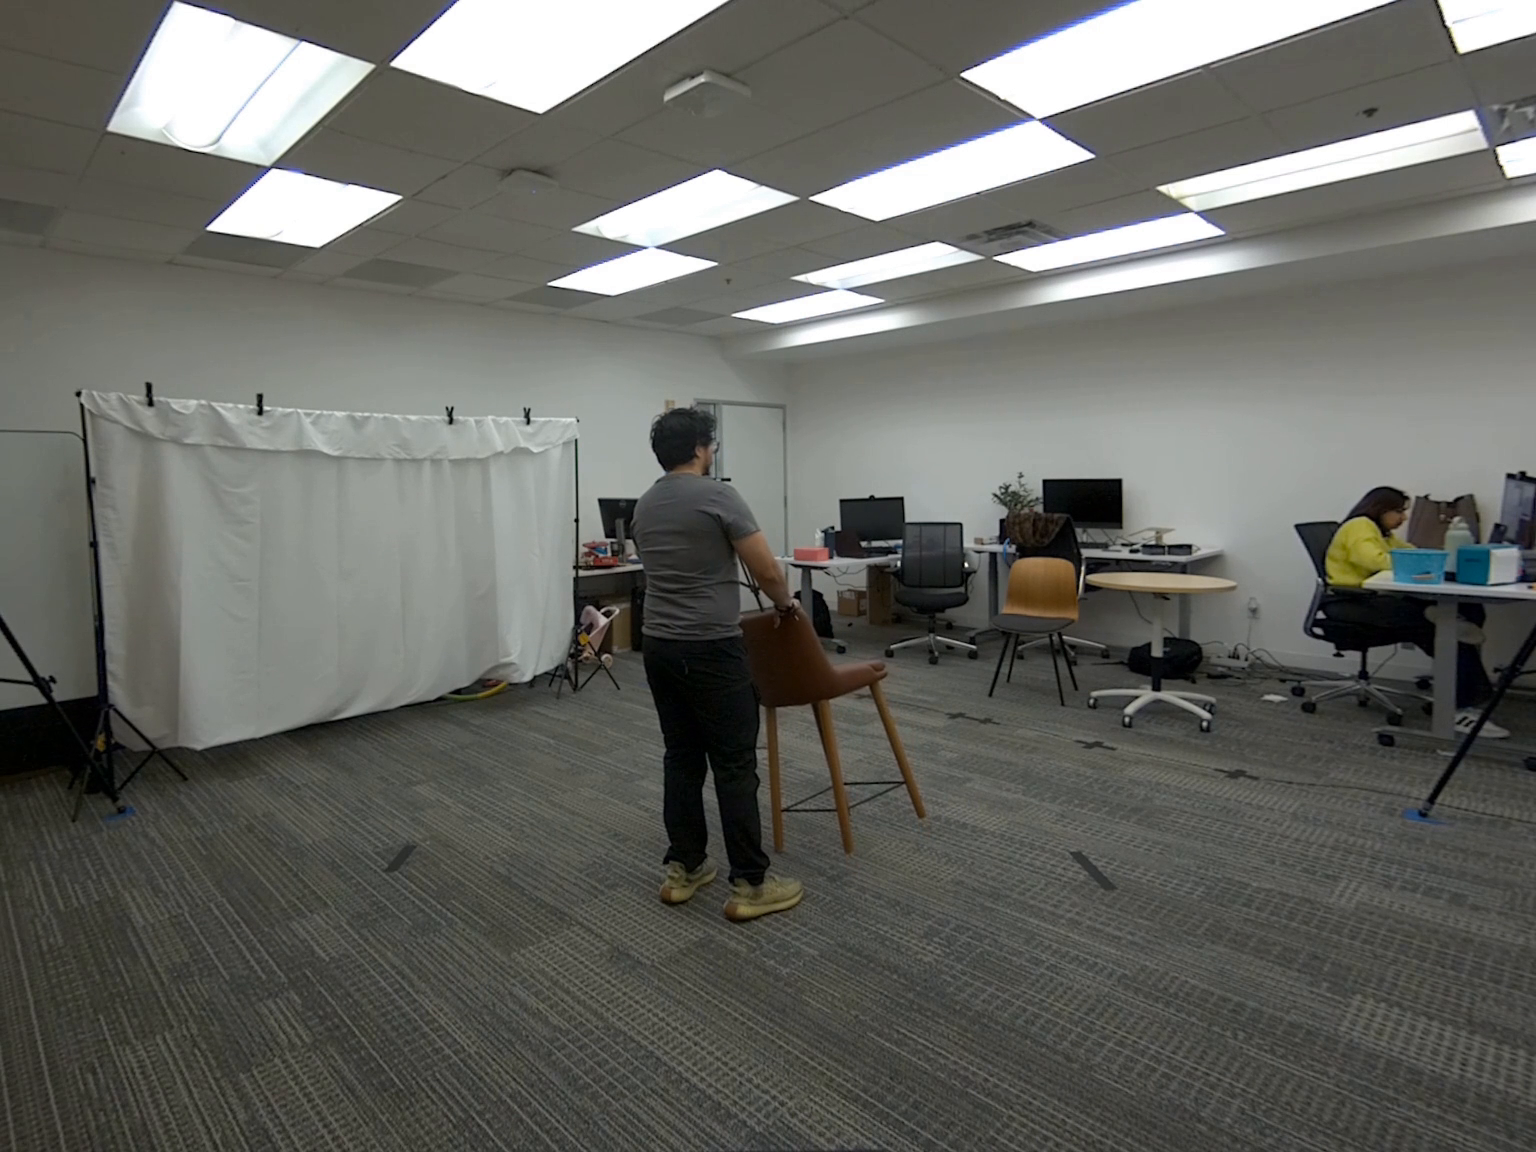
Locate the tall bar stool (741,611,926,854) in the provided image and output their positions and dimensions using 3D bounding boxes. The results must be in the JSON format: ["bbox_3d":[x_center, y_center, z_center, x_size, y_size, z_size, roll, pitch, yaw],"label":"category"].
[{"bbox_3d":[0.207,0.551,3.274,0.456,0.895,0.465,-9,-7,-44],"label":"tall bar stool"}]
